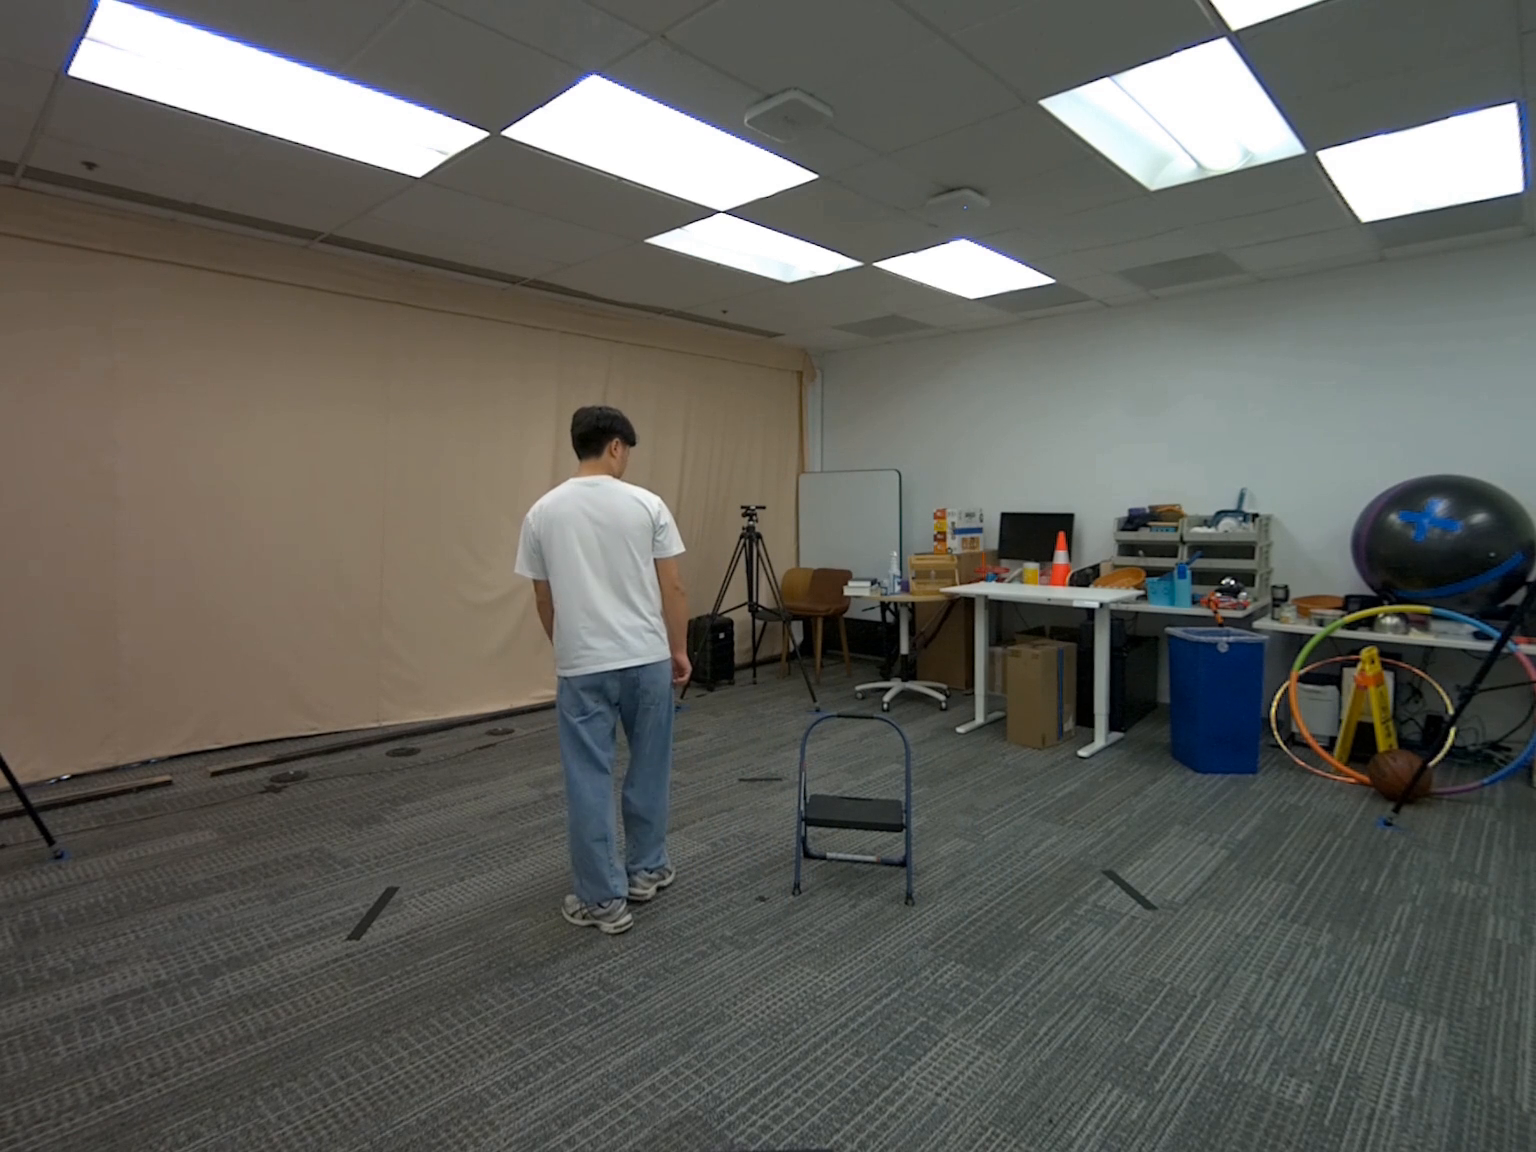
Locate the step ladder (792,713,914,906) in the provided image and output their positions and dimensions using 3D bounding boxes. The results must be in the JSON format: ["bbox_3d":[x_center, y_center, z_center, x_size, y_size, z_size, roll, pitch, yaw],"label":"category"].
[{"bbox_3d":[0.328,0.828,3.122,0.436,0.605,0.346,1,3,10],"label":"step ladder"}]
